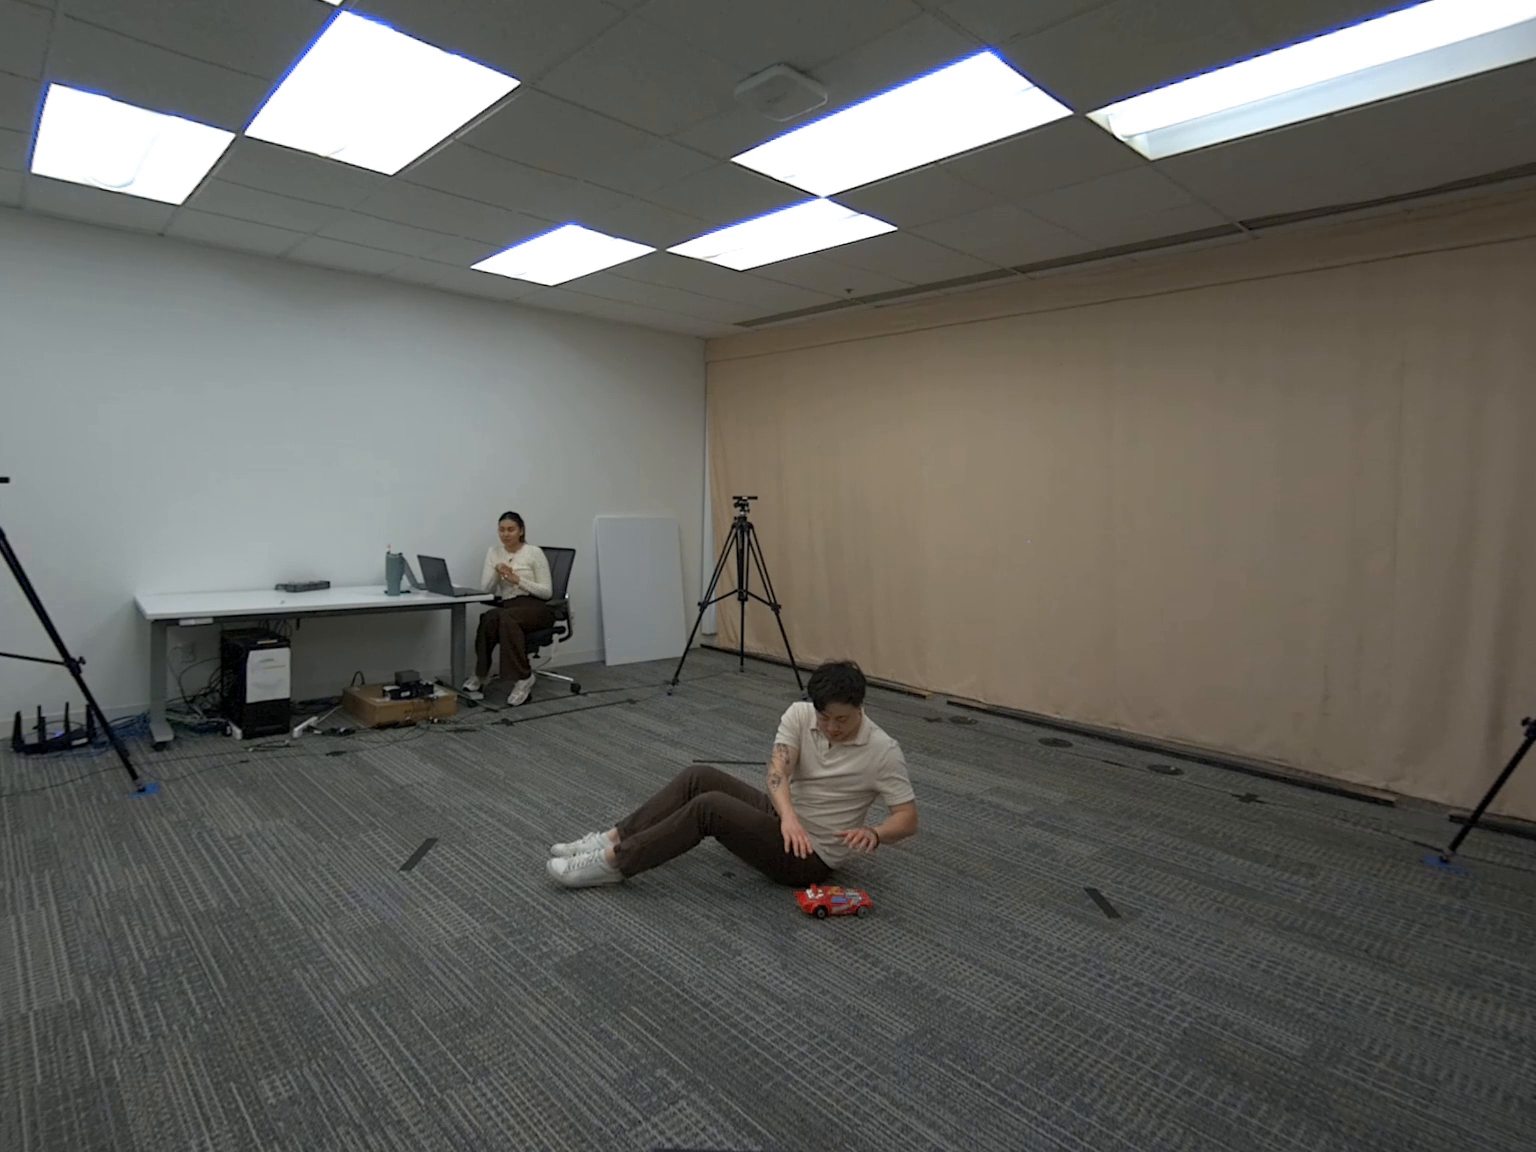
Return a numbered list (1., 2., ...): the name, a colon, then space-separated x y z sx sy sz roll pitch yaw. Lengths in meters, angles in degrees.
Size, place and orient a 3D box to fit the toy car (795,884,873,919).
1. toy car: 0.208 1.107 2.844 0.252 0.083 0.132 12 6 -9
